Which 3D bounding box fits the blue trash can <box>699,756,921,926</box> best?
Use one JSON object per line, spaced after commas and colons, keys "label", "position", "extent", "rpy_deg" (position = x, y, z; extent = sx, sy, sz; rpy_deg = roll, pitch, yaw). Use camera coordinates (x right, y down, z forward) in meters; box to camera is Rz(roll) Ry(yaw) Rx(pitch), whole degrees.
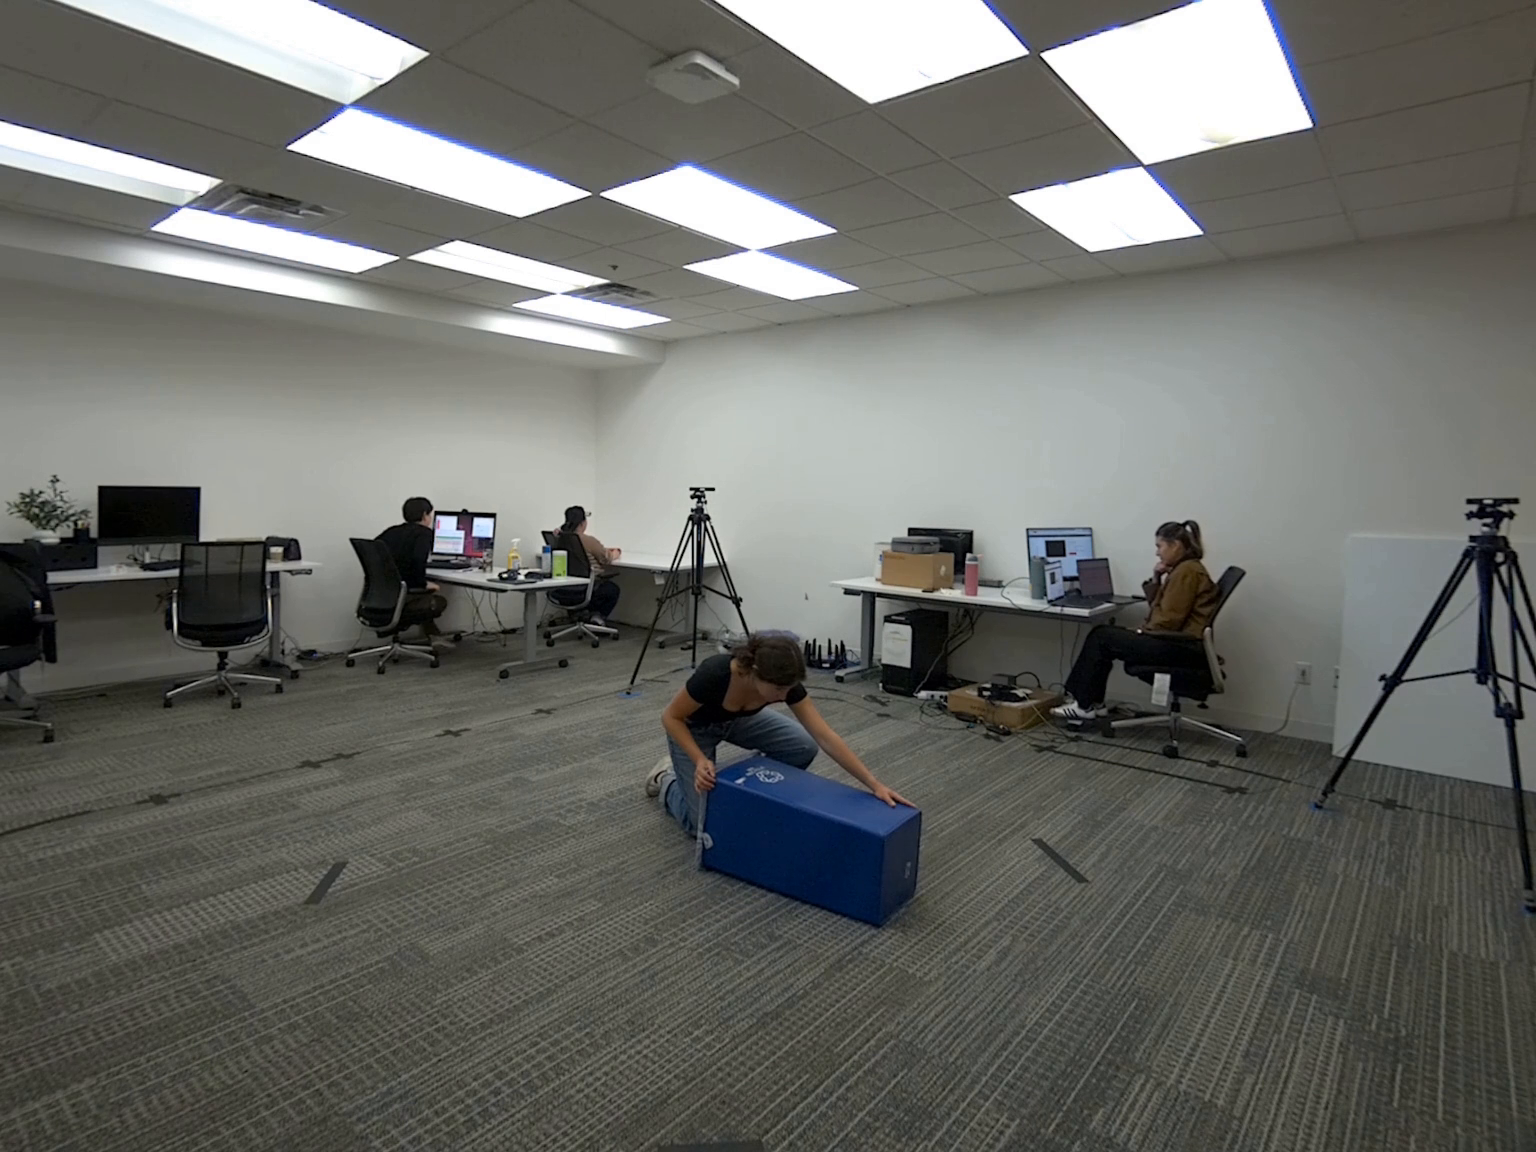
{"label": "blue trash can", "position": [0.136, 0.918, 3.021], "extent": [0.737, 0.377, 0.363], "rpy_deg": [8, 6, 33]}
